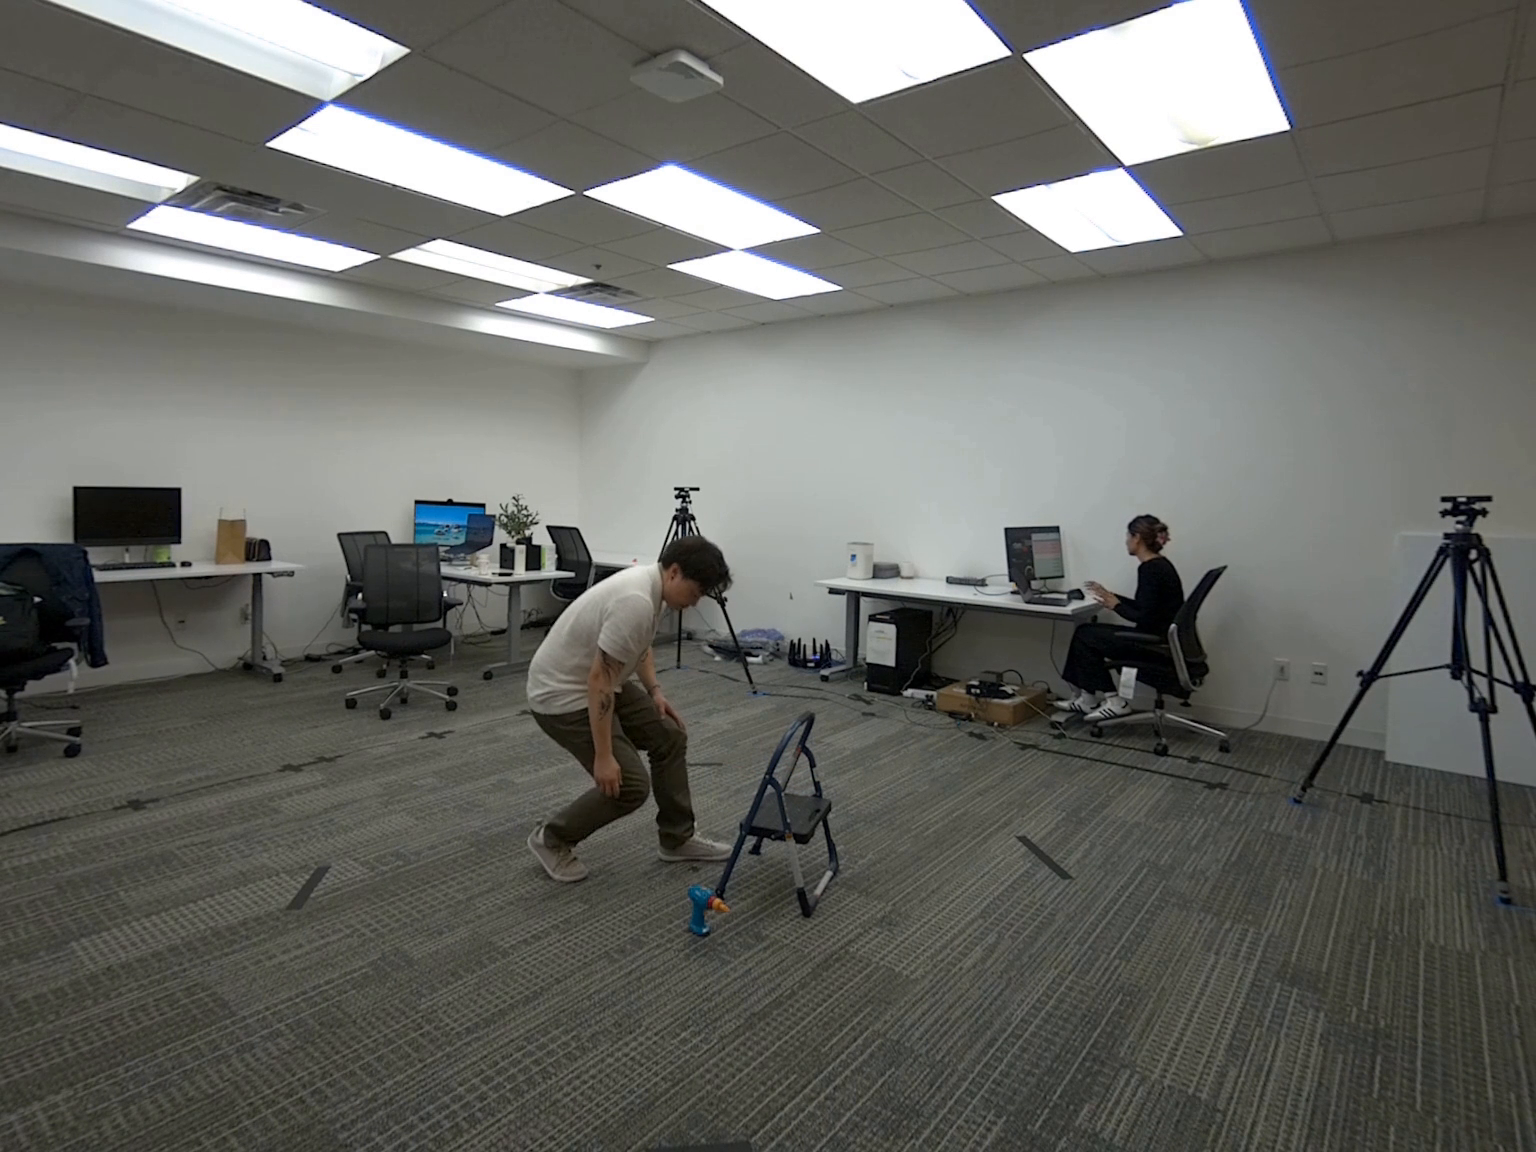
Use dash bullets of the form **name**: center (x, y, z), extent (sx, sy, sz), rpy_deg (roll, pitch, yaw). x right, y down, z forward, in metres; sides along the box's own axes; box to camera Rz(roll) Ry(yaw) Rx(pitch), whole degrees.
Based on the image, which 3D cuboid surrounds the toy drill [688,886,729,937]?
- **toy drill**: center (-0.194, 1.041, 2.633), extent (0.176, 0.145, 0.059), rpy_deg (6, 5, 39)
